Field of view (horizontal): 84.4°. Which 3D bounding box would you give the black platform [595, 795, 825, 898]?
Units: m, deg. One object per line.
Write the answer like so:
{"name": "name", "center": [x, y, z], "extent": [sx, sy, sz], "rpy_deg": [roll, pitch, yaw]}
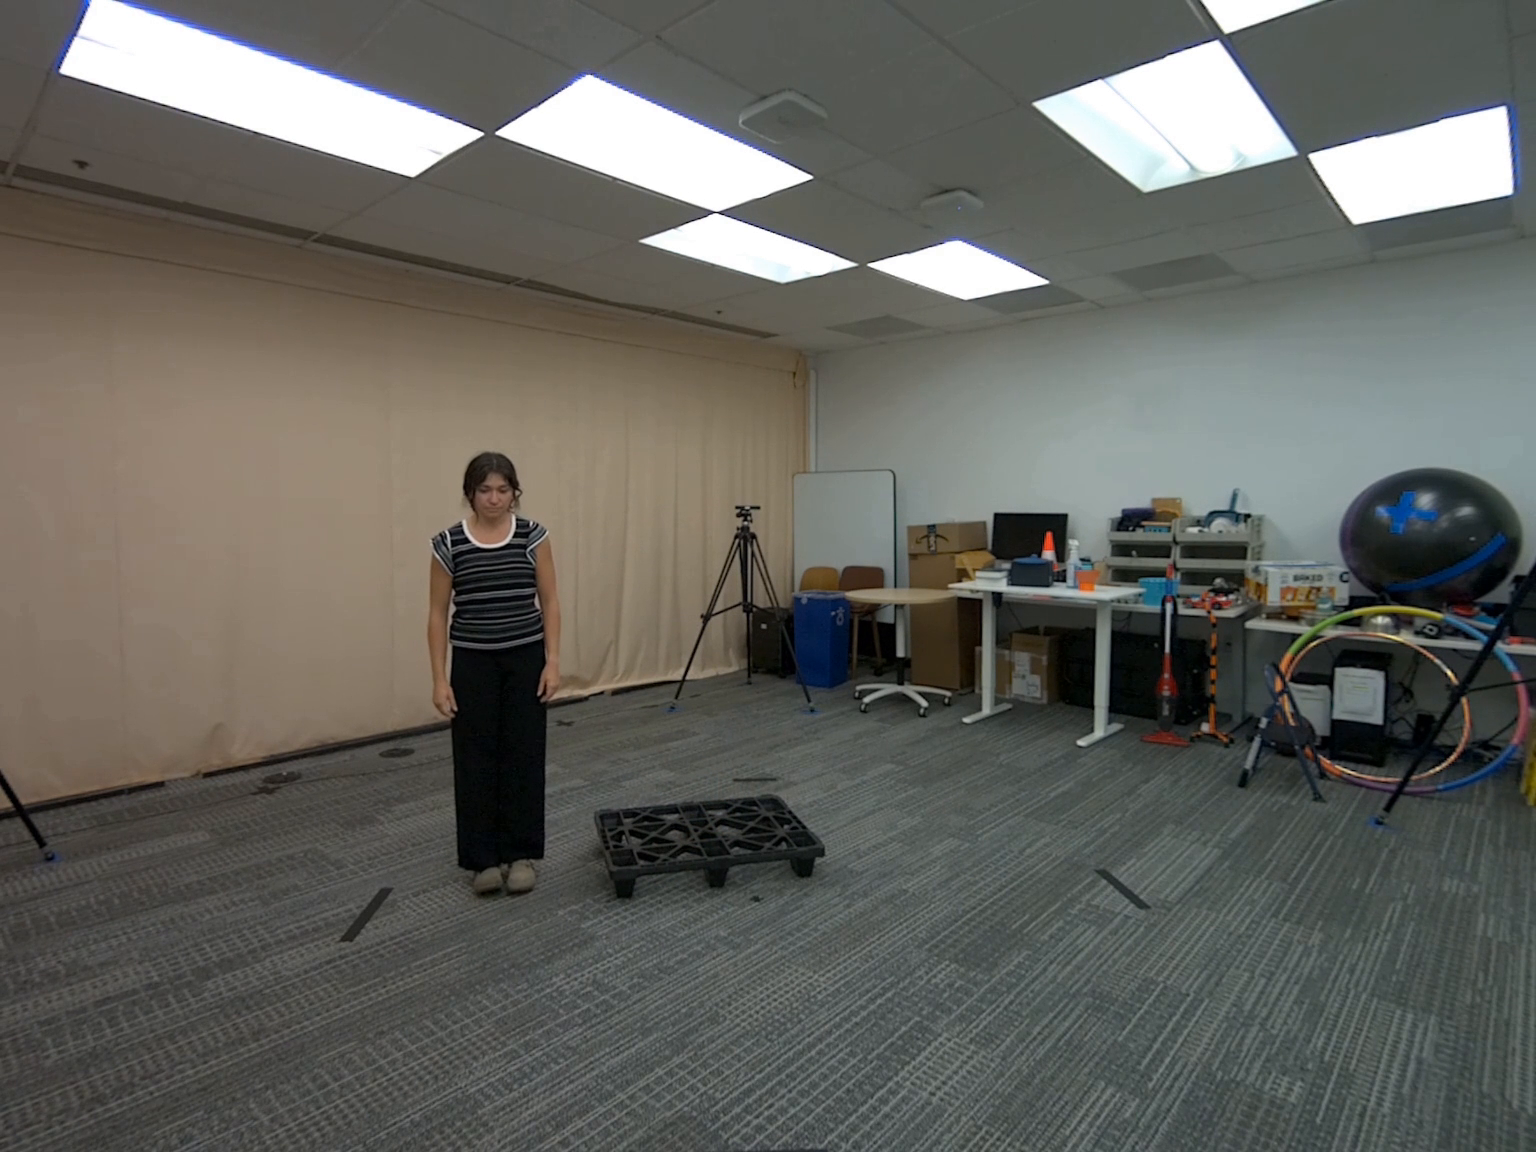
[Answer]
{"name": "black platform", "center": [-0.255, 1.051, 3.300], "extent": [0.794, 0.143, 0.615], "rpy_deg": [-1, 4, -15]}
